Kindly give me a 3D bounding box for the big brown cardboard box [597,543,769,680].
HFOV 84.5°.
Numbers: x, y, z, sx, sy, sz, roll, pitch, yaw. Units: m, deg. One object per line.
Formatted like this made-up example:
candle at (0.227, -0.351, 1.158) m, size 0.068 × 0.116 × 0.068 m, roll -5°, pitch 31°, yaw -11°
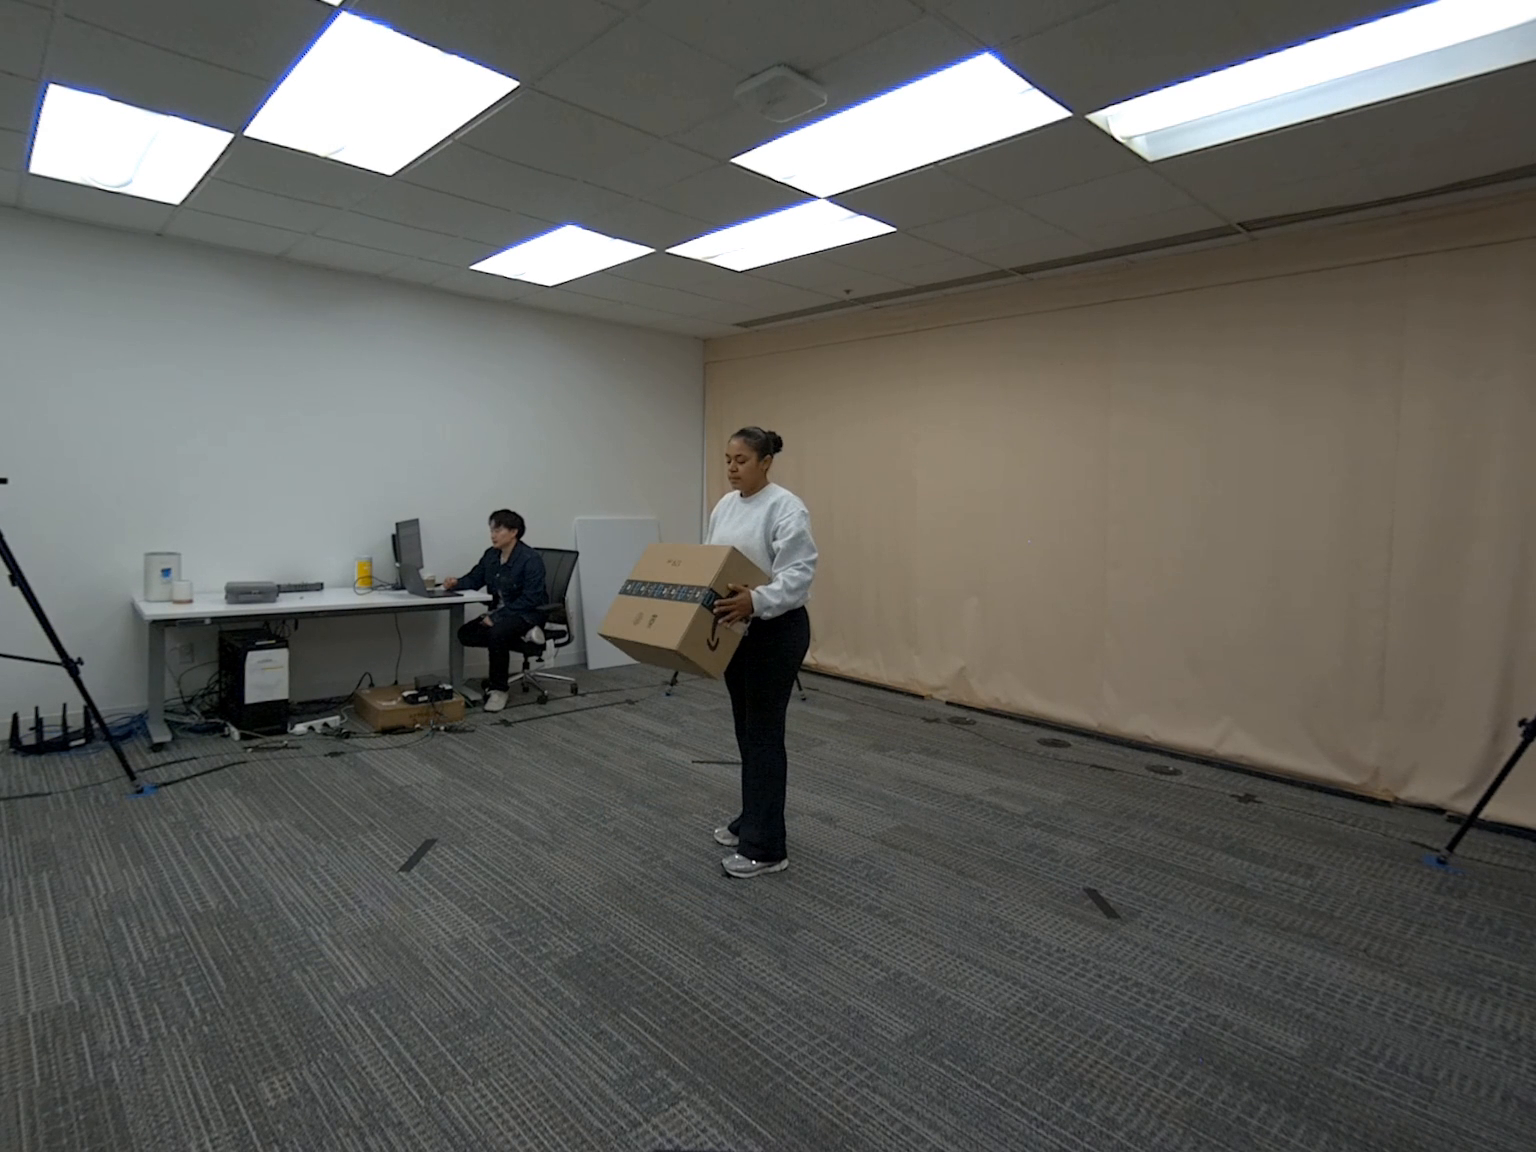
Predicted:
big brown cardboard box at (-0.325, 0.116, 3.094) m, size 0.226 × 0.419 × 0.603 m, roll 40°, pitch -21°, yaw -31°
